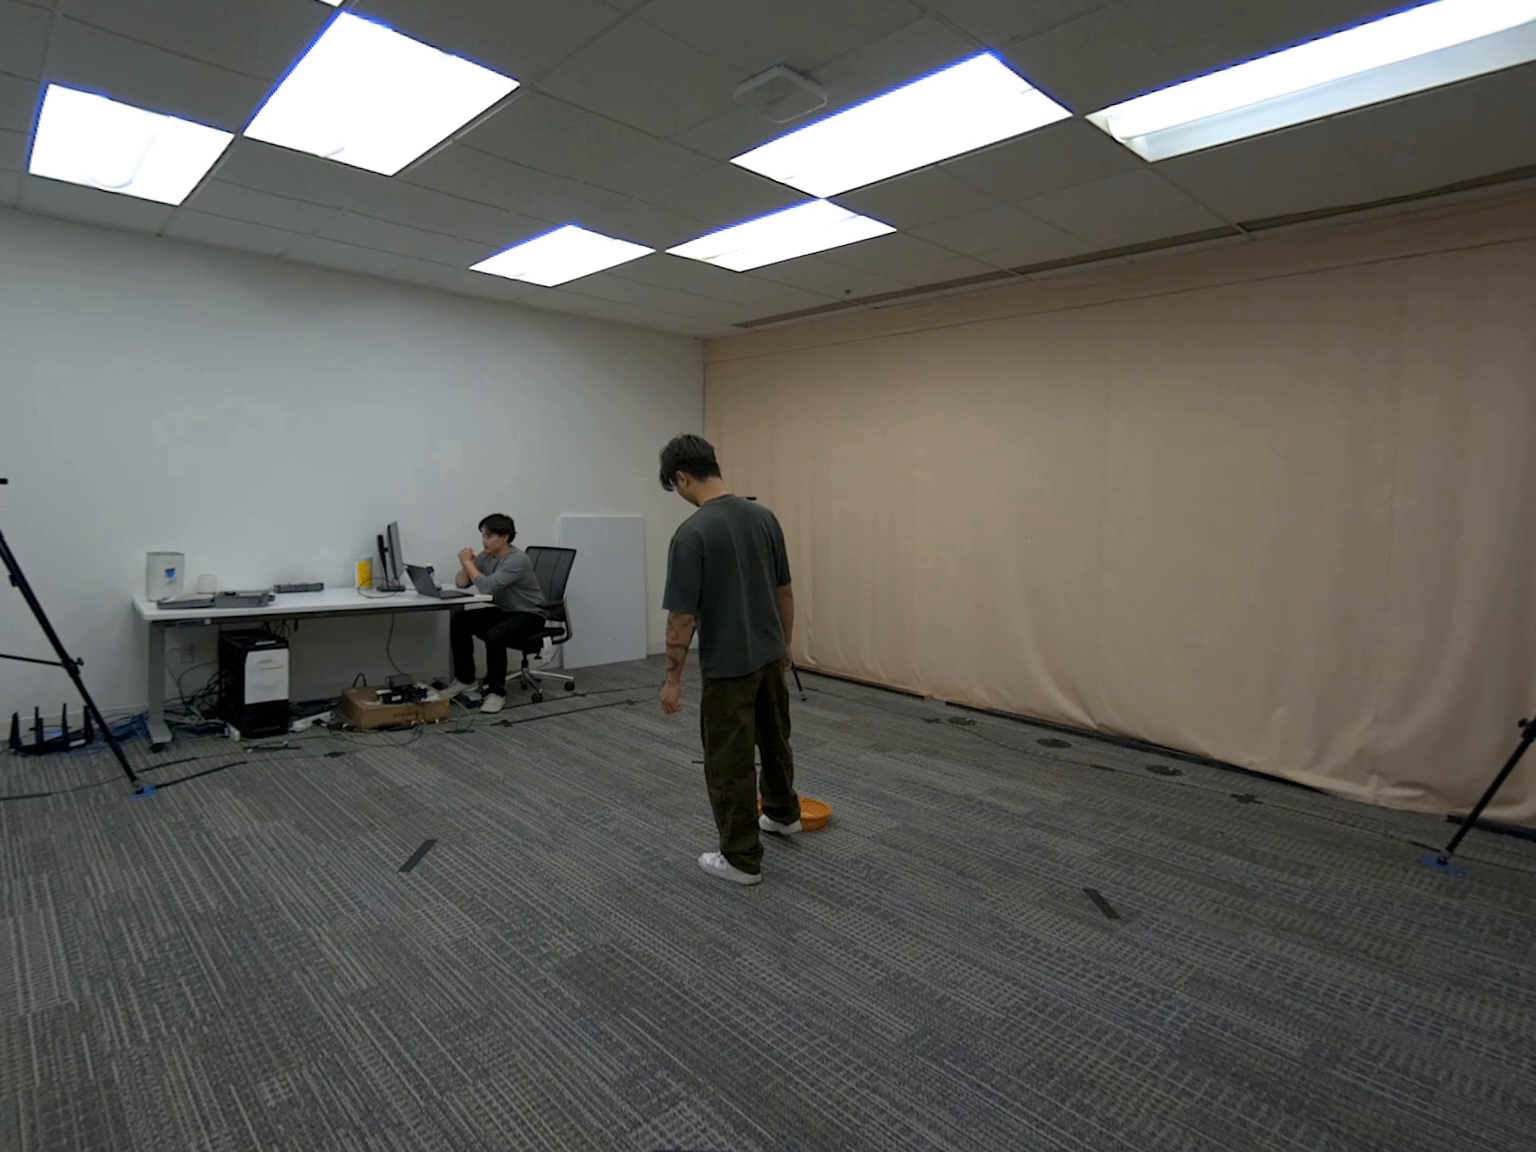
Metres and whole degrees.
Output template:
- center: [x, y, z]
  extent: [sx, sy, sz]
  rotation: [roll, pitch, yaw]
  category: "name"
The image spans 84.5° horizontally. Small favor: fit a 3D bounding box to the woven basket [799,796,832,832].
- center: [0.093, 1.027, 3.660]
  extent: [0.358, 0.073, 0.247]
  rotation: [4, 5, 29]
  category: "woven basket"
